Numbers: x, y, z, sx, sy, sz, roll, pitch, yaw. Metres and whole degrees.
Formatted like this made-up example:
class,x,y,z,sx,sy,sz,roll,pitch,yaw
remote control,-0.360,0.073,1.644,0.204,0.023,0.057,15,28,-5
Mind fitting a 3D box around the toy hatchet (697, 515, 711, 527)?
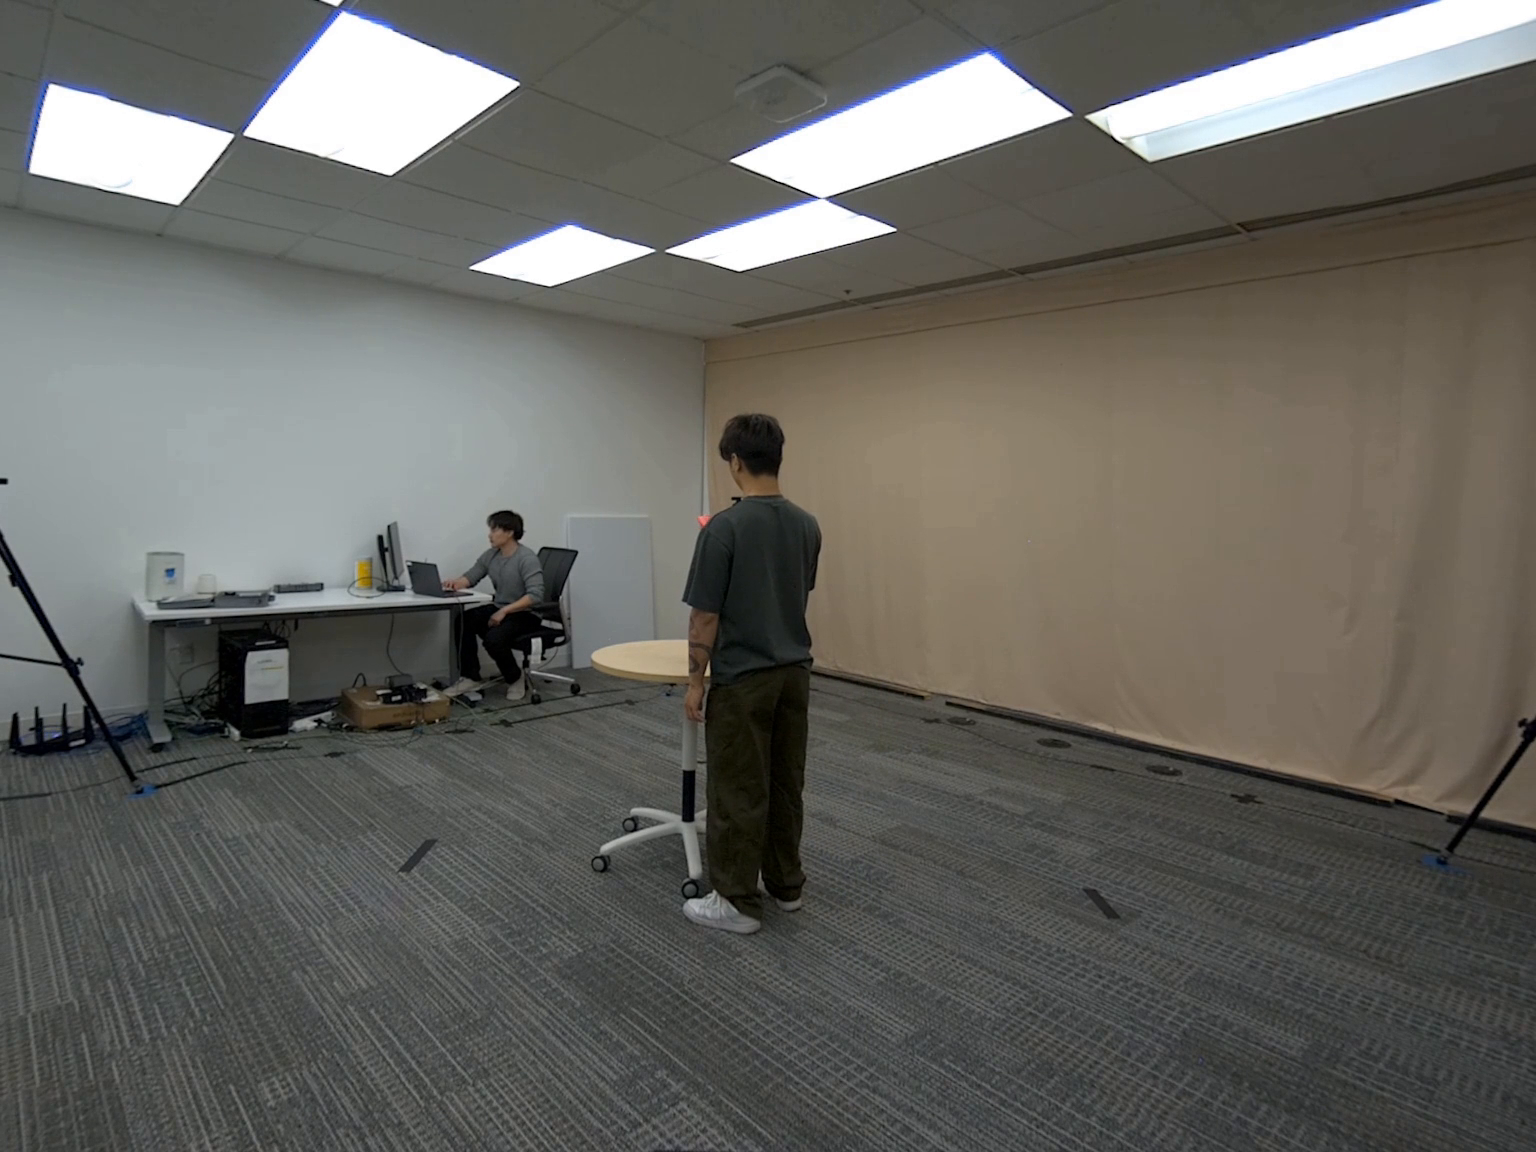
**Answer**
class,x,y,z,sx,sy,sz,roll,pitch,yaw
toy hatchet,-0.202,-0.142,3.138,0.128,0.029,0.277,32,26,-28
